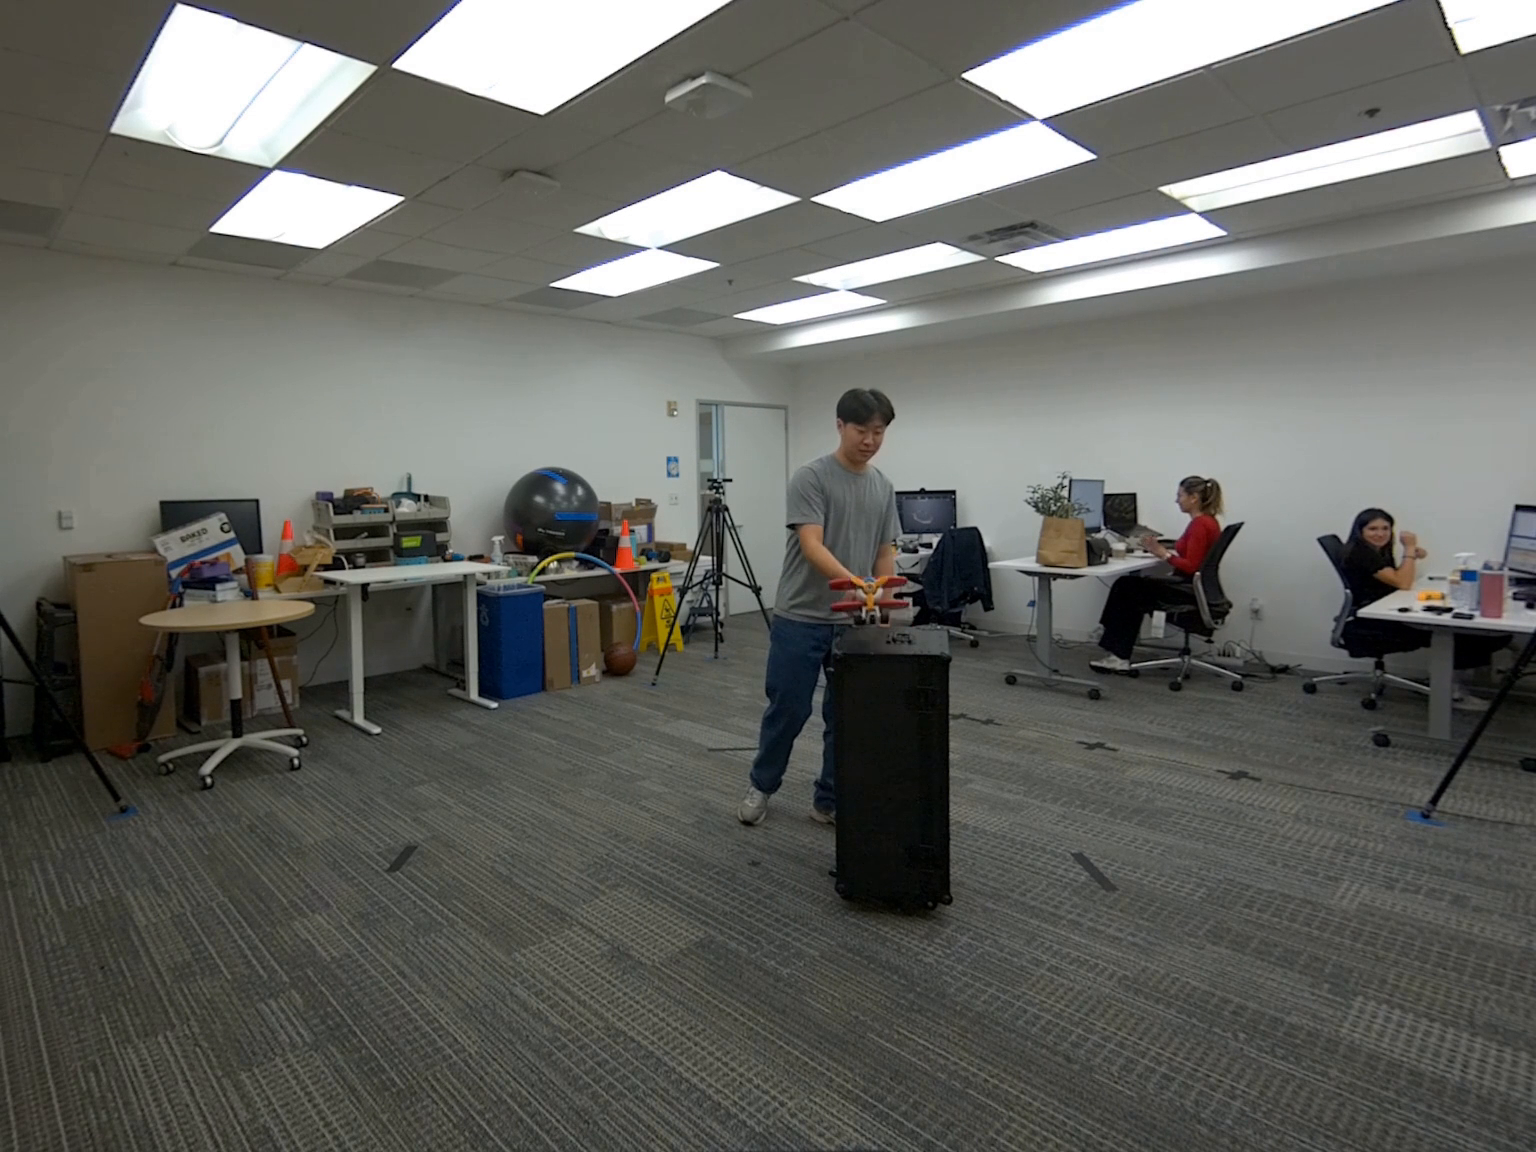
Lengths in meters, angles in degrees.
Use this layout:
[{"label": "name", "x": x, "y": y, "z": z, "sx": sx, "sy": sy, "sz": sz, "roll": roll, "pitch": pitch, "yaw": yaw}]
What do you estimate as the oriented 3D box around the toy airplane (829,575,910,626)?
[{"label": "toy airplane", "x": 0.310, "y": 0.070, "z": 2.819, "sx": 0.246, "sy": 0.157, "sz": 0.263, "roll": 0, "pitch": -4, "yaw": -23}]
